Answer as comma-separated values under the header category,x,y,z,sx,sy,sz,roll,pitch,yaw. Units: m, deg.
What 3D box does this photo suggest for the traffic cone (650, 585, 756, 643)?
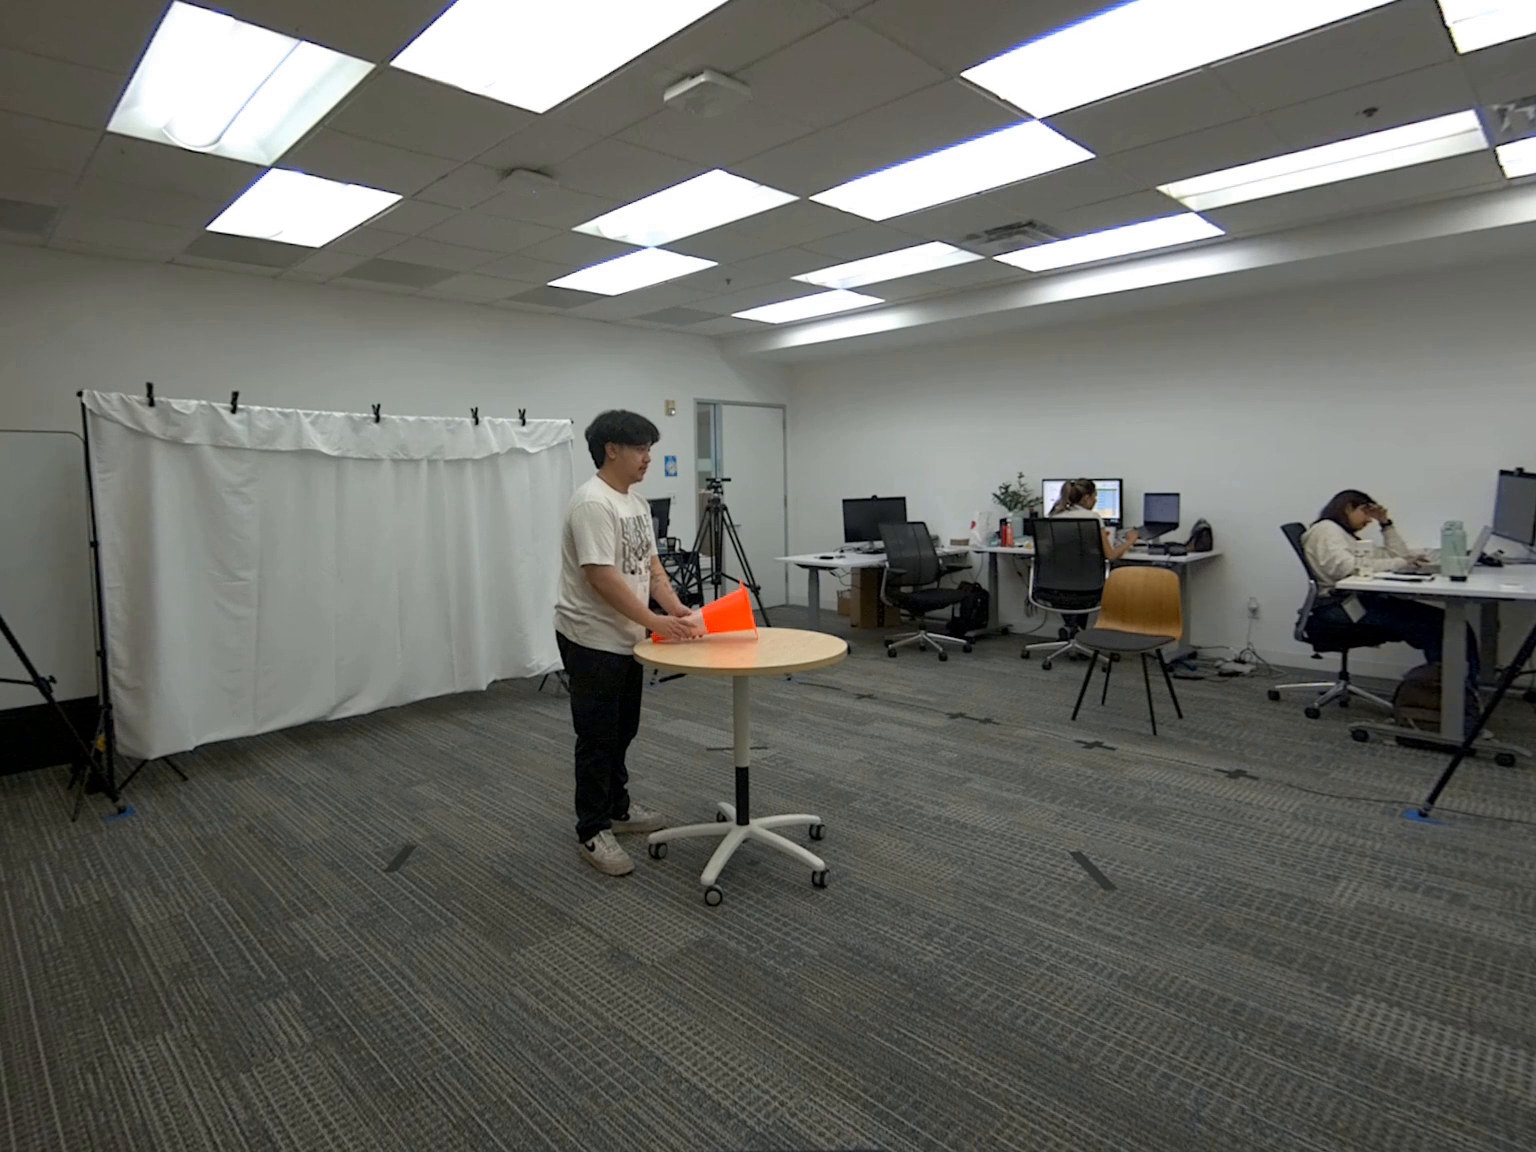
category,x,y,z,sx,sy,sz,roll,pitch,yaw
traffic cone,-0.253,0.181,3.166,0.384,0.208,0.200,-18,-11,0
